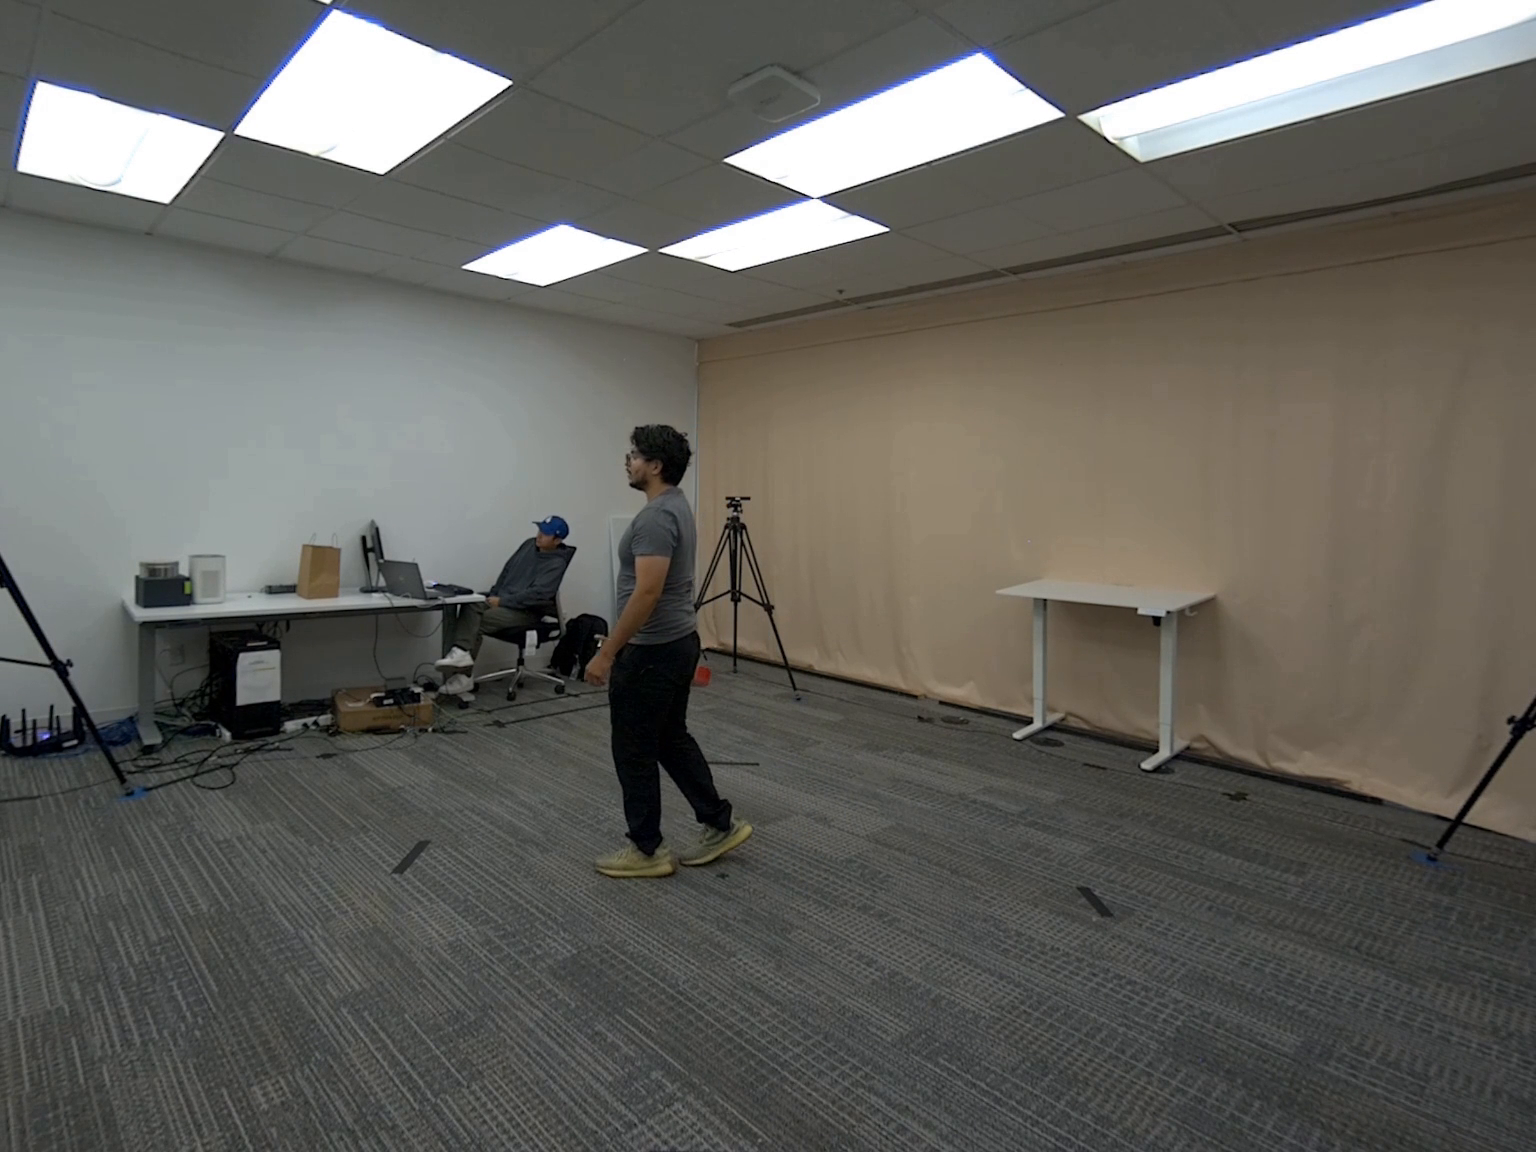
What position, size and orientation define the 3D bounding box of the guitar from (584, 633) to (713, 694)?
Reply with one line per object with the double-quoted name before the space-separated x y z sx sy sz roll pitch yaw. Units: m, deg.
"guitar" -0.491 0.358 3.452 0.494 0.071 0.192 18 -20 -8
